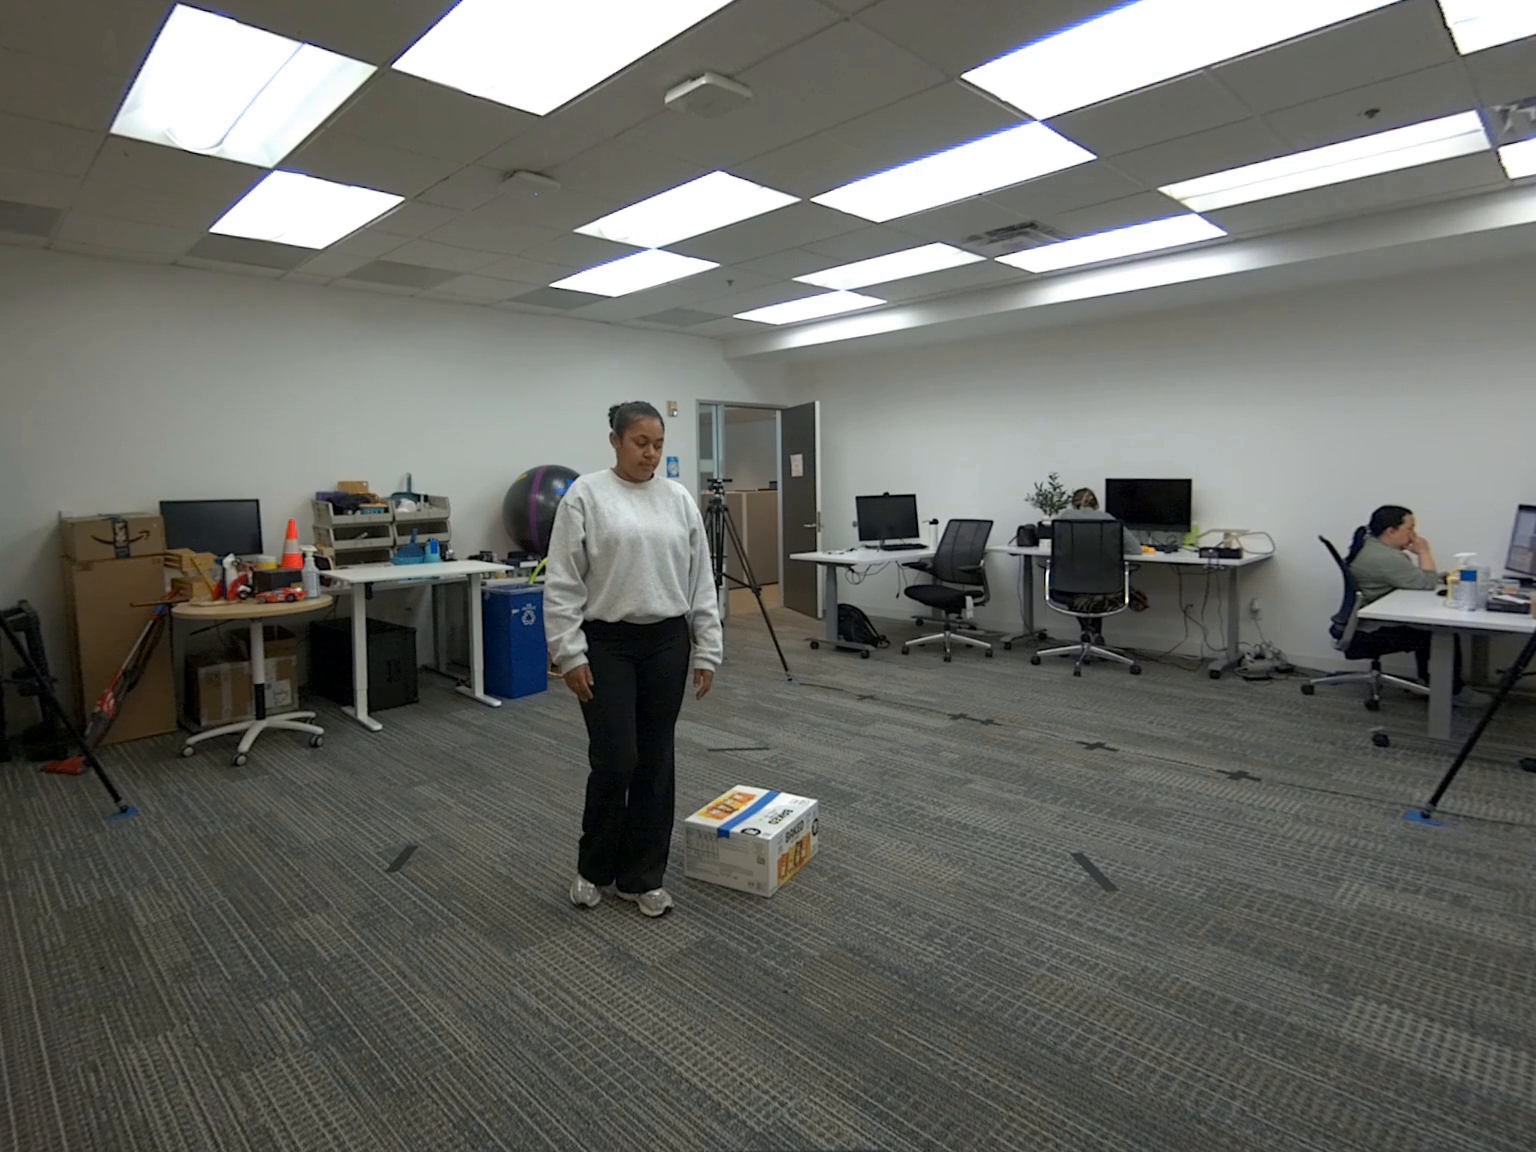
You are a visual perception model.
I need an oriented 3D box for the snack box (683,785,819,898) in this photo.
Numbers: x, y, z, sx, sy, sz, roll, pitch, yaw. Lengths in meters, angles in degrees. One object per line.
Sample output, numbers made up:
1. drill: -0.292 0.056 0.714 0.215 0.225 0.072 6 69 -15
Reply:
1. snack box: -0.053 0.945 3.091 0.349 0.205 0.397 2 6 28
